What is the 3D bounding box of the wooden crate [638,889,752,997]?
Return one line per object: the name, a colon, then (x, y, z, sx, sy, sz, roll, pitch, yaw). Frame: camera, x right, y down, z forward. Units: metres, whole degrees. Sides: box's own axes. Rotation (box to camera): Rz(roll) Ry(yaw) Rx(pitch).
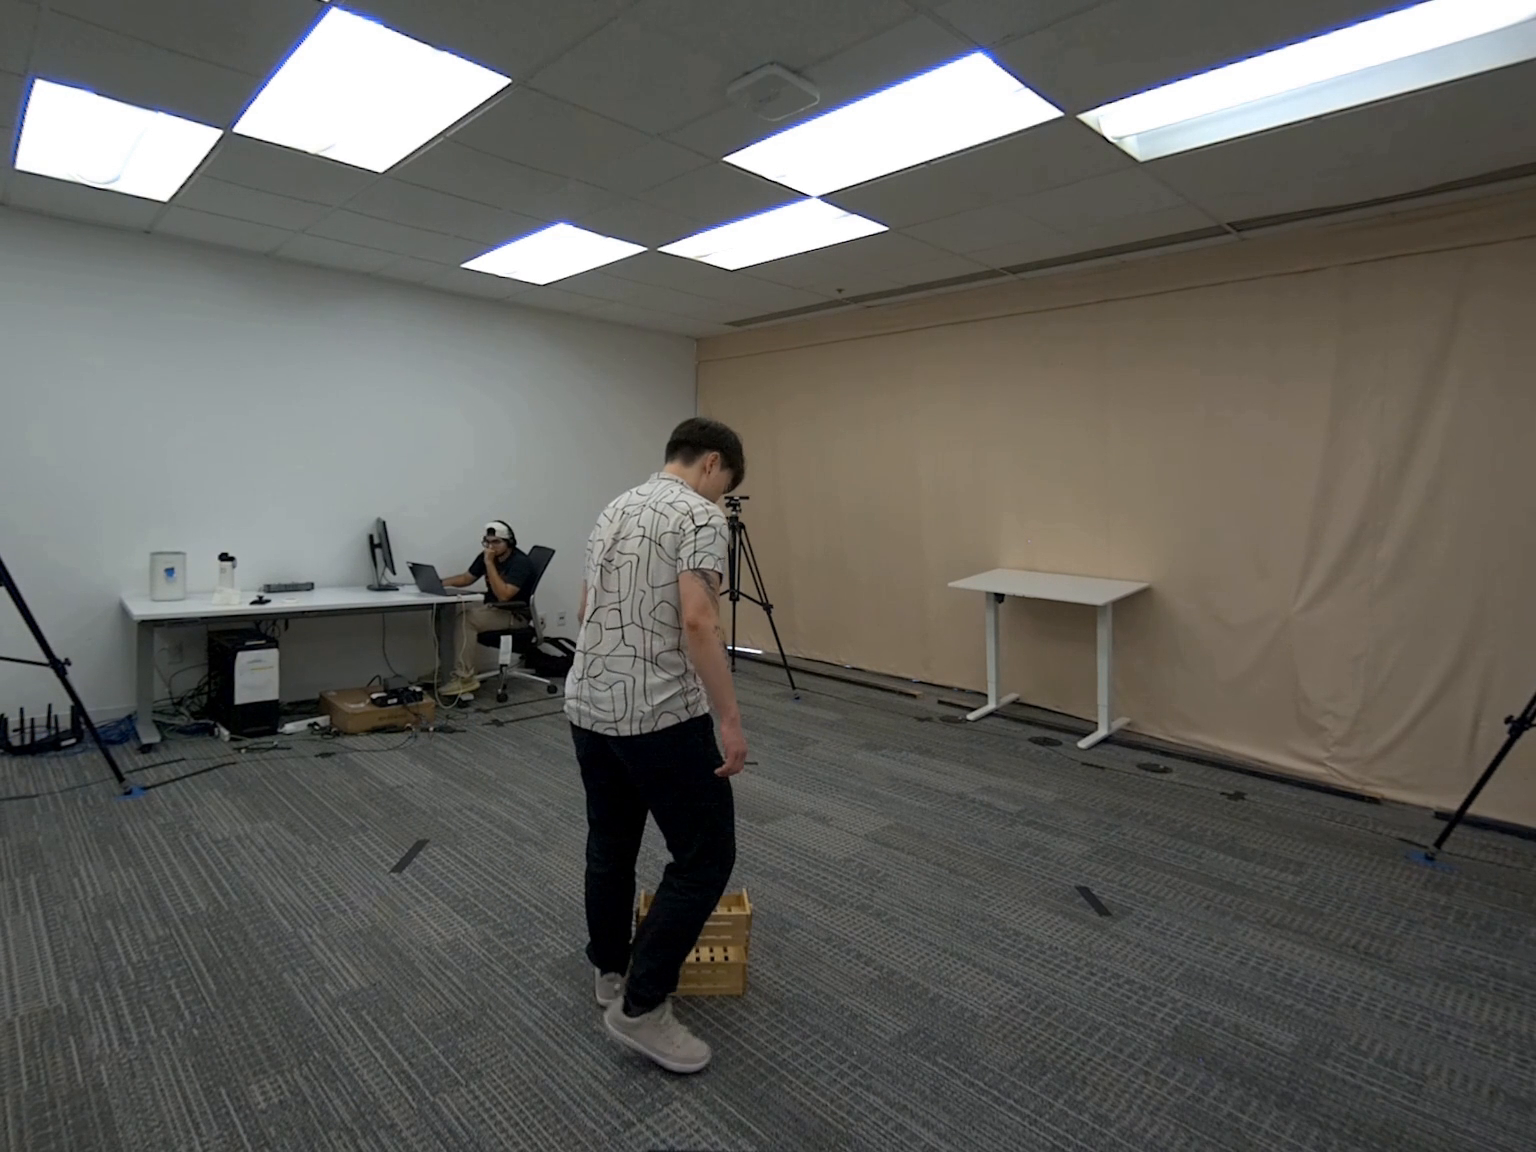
wooden crate: (-0.223, 1.030, 2.438, 0.323, 0.272, 0.304, 1, 5, -6)
